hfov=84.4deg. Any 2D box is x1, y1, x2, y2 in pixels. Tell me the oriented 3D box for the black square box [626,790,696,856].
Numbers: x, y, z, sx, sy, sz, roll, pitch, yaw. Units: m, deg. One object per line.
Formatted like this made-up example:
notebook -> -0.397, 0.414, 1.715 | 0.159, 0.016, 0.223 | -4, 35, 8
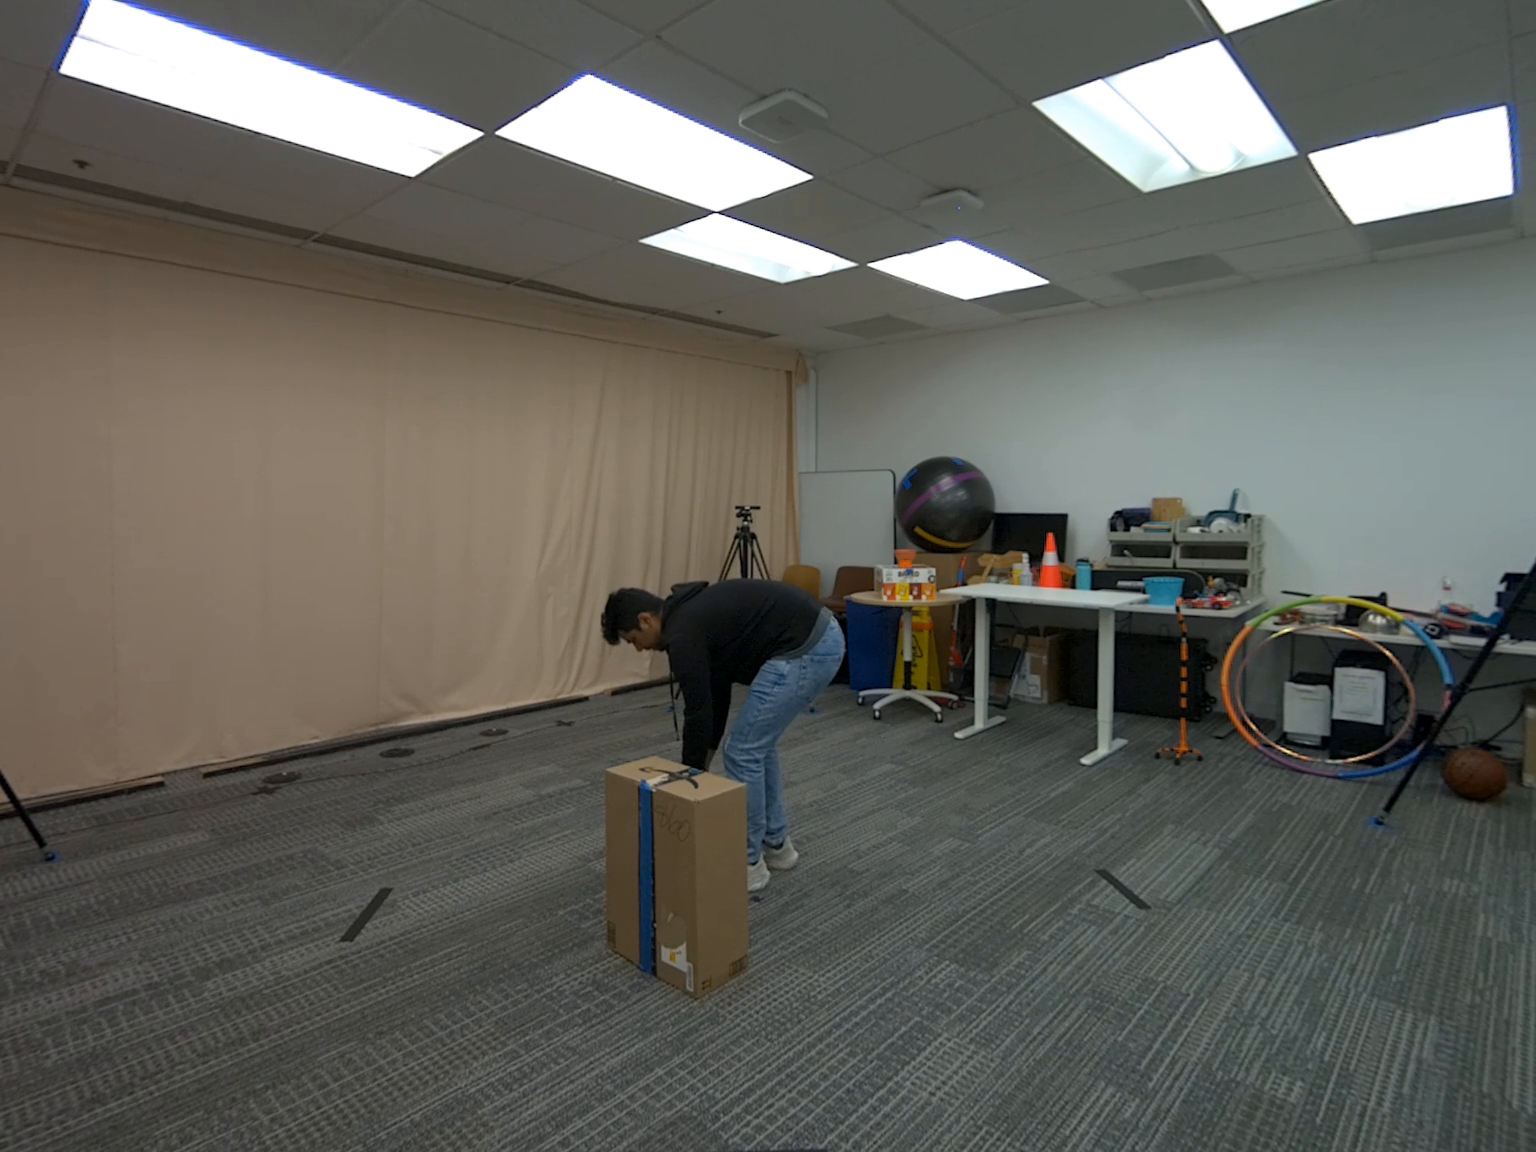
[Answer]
black square box -> -0.405, 0.938, 3.235 | 0.219, 0.155, 0.226 | 0, 5, 7
